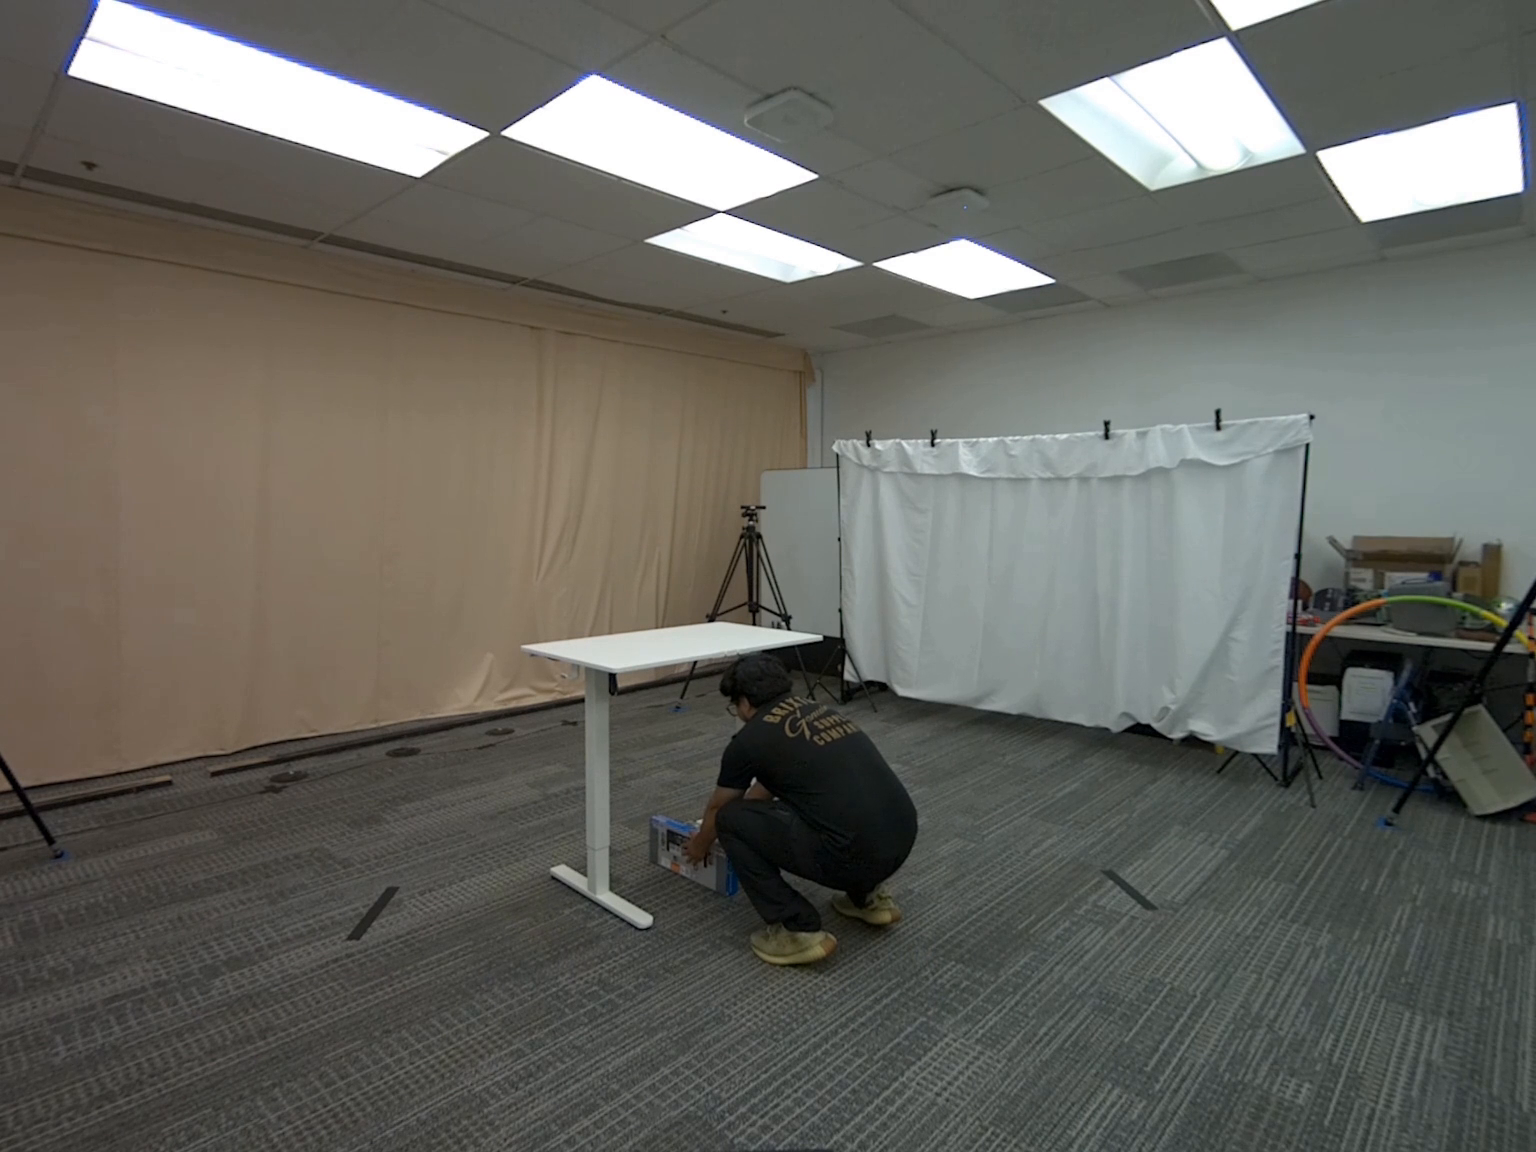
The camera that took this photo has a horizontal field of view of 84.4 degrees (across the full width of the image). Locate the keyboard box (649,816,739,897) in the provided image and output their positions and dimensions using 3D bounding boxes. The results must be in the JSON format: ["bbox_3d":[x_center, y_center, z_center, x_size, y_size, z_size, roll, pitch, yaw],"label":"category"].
[{"bbox_3d":[-0.286,1.043,3.168,0.451,0.176,0.057,5,3,44],"label":"keyboard box"}]
